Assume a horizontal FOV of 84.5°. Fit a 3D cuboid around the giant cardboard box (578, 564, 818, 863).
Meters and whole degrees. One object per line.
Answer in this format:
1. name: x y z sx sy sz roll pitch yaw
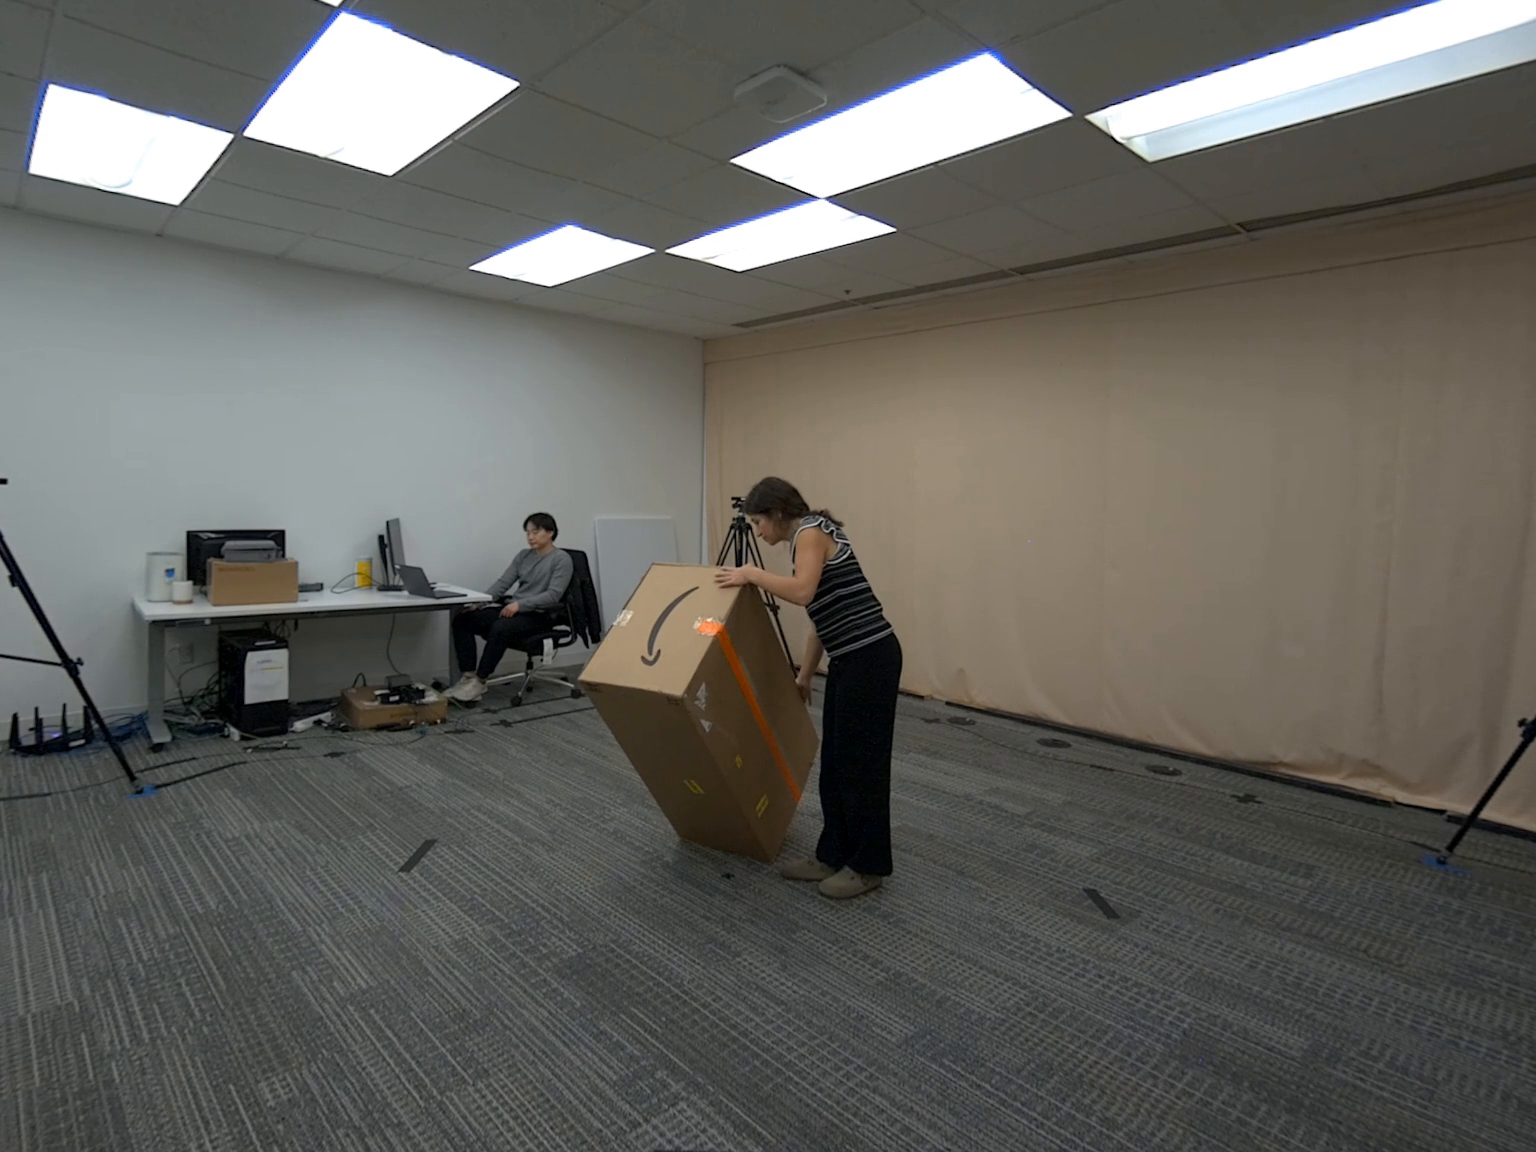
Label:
1. giant cardboard box: -0.212 0.524 3.189 0.435 0.997 0.581 4 45 29
